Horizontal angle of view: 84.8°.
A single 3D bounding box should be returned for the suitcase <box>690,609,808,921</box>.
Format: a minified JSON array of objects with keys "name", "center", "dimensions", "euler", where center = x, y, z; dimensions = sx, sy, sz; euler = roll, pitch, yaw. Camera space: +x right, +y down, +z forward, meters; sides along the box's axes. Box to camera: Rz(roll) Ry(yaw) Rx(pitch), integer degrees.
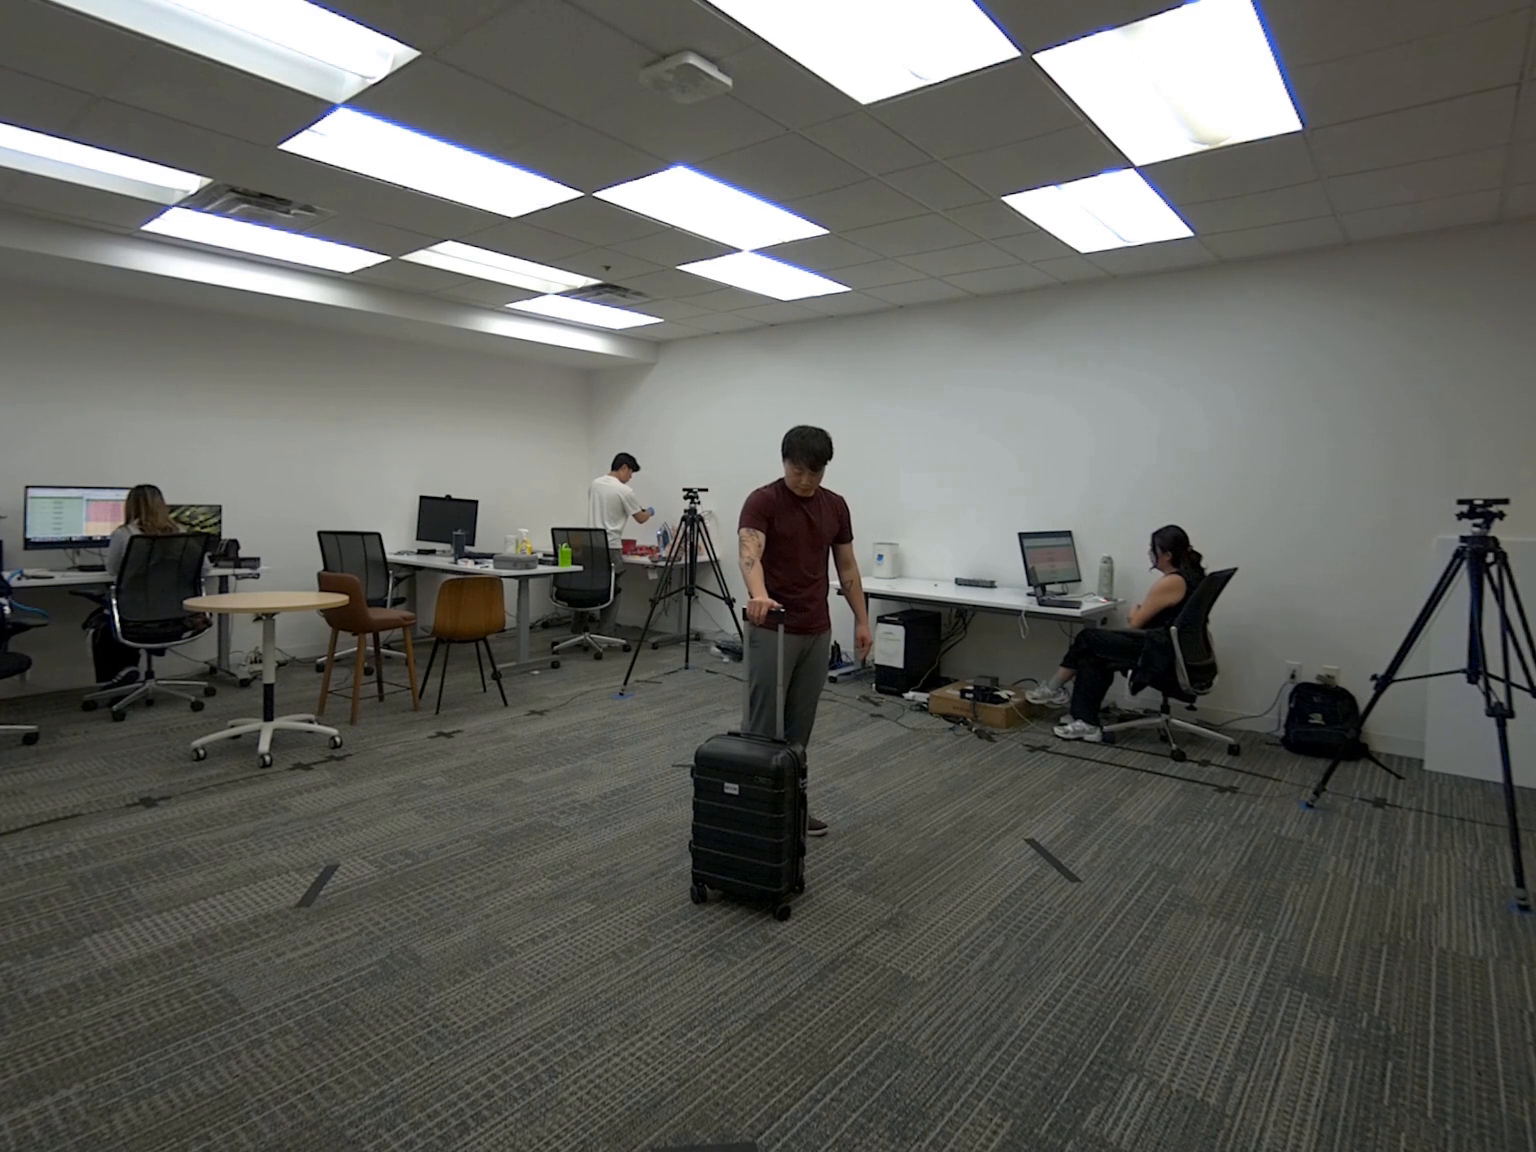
[{"name":"suitcase","center":[-0.066,0.620,2.884],"dimensions":[0.393,0.974,0.252],"euler":[4,5,22]}]
